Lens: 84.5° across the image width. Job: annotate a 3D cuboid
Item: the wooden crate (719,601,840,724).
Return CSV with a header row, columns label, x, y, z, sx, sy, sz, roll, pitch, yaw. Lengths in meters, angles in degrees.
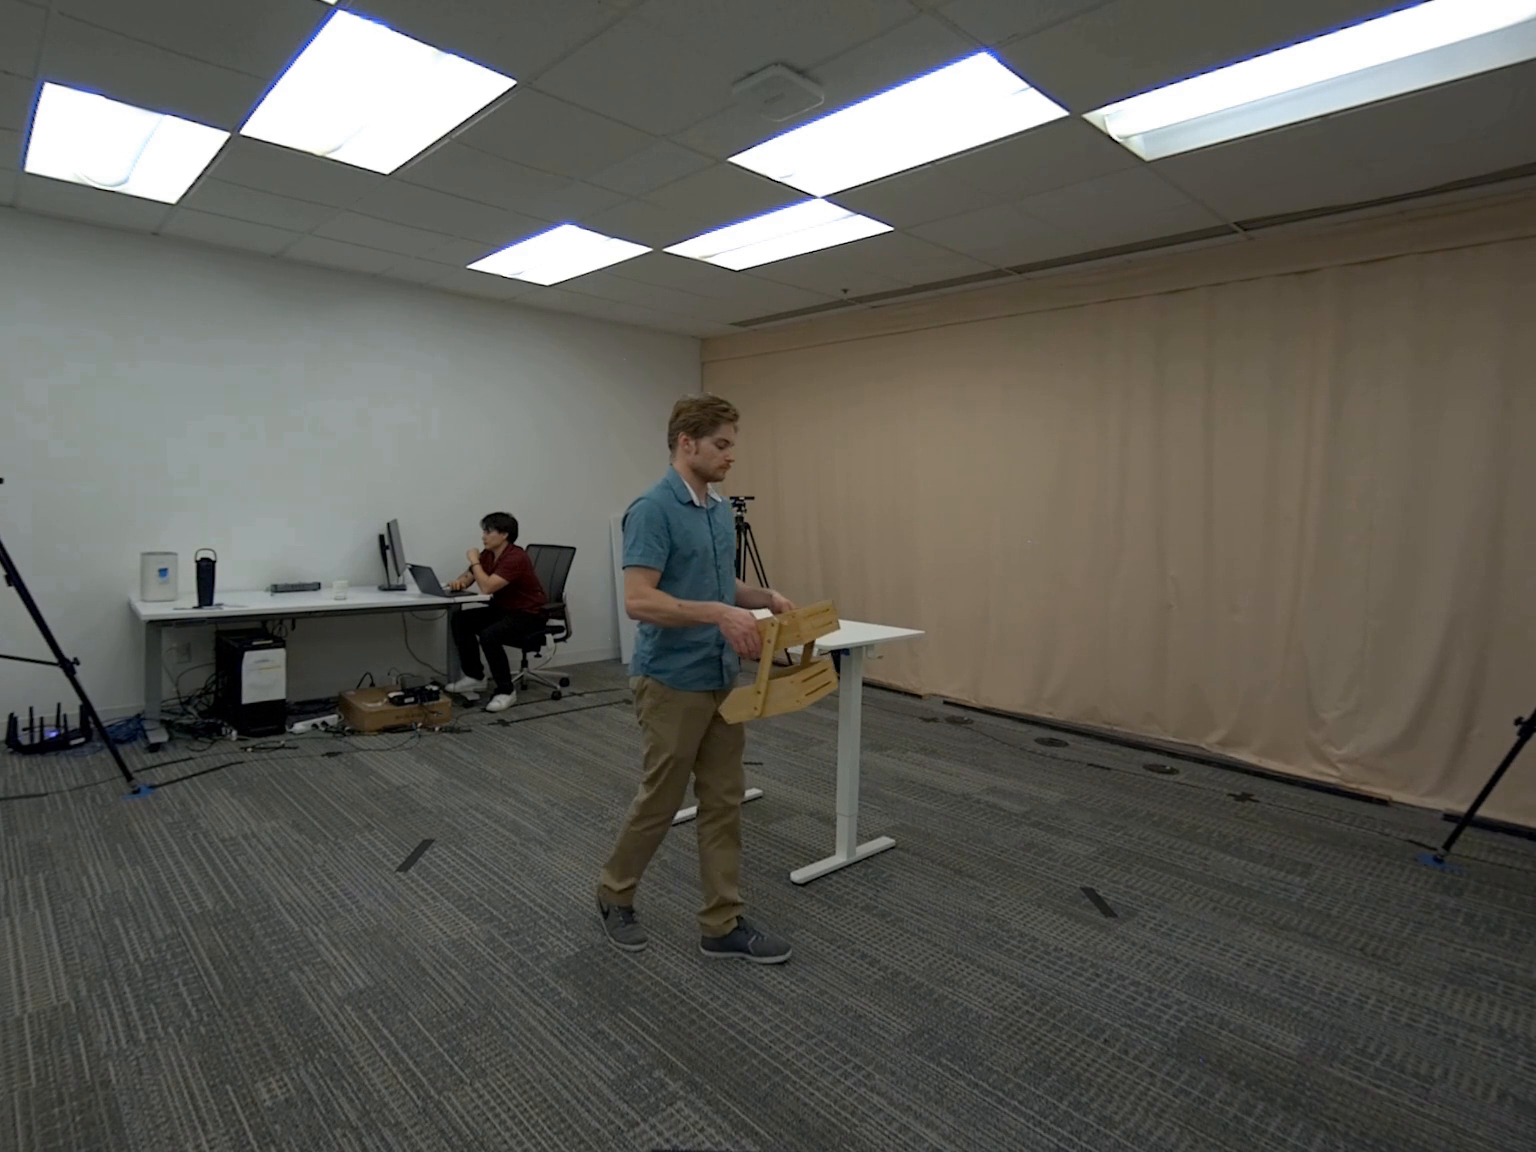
label,x,y,z,sx,sy,sz,roll,pitch,yaw
wooden crate,0.023,0.236,2.419,0.306,0.274,0.319,-14,-2,26
